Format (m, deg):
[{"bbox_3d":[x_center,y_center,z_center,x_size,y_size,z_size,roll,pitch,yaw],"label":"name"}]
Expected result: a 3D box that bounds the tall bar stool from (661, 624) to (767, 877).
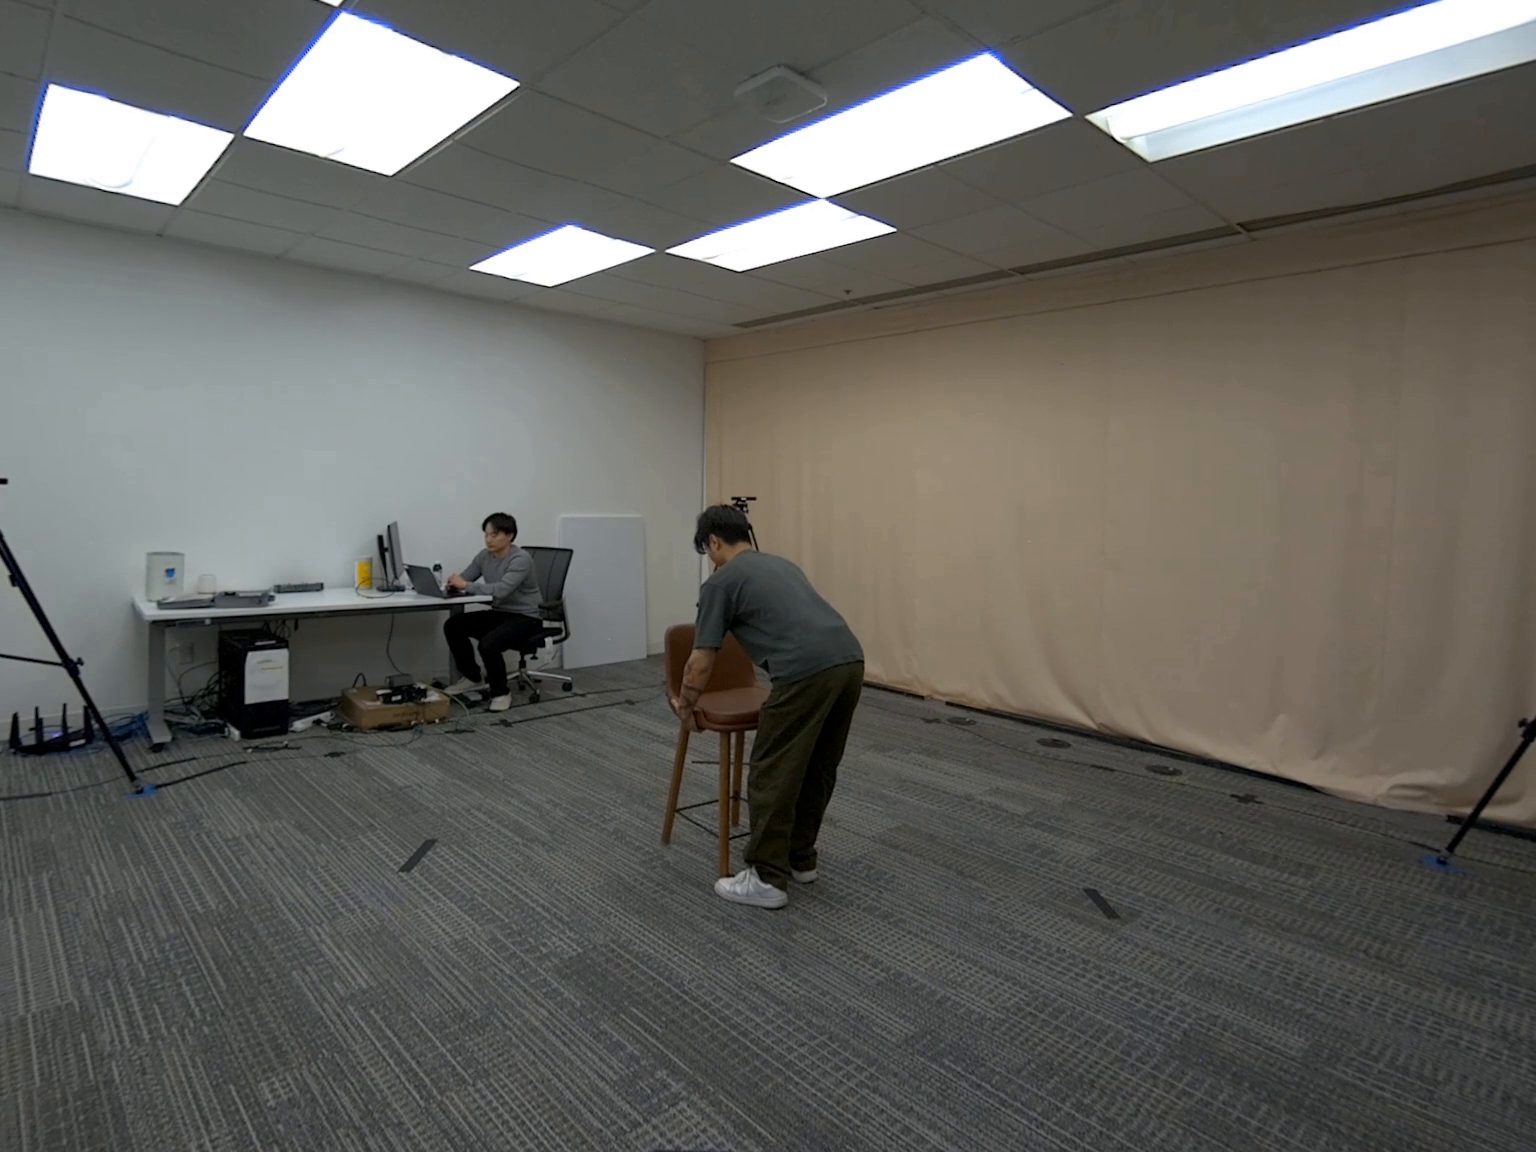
[{"bbox_3d":[-0.144,0.646,3.301,0.446,0.889,0.478,0,1,-37],"label":"tall bar stool"}]
